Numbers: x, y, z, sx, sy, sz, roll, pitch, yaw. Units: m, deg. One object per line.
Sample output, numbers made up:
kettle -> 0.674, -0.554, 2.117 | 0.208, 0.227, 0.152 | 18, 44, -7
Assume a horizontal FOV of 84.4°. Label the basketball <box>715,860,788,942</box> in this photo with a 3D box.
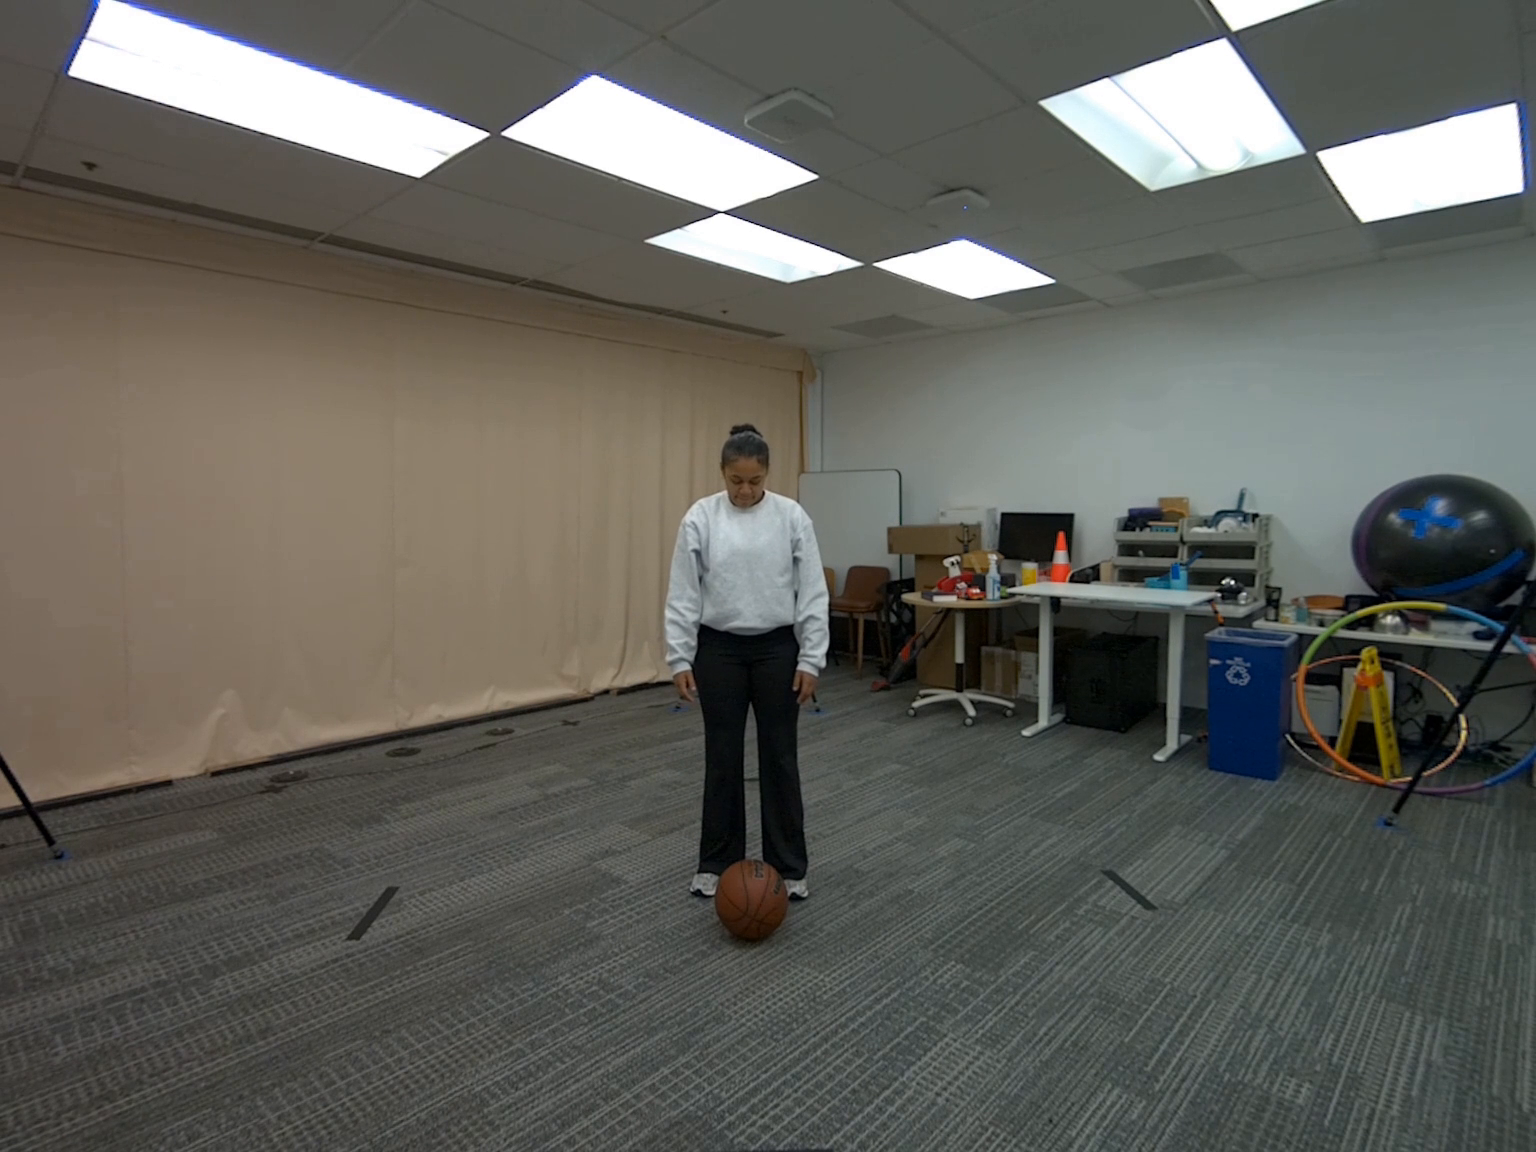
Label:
basketball -> -0.057, 1.040, 2.729 | 0.236, 0.235, 0.237 | 0, 4, -2
